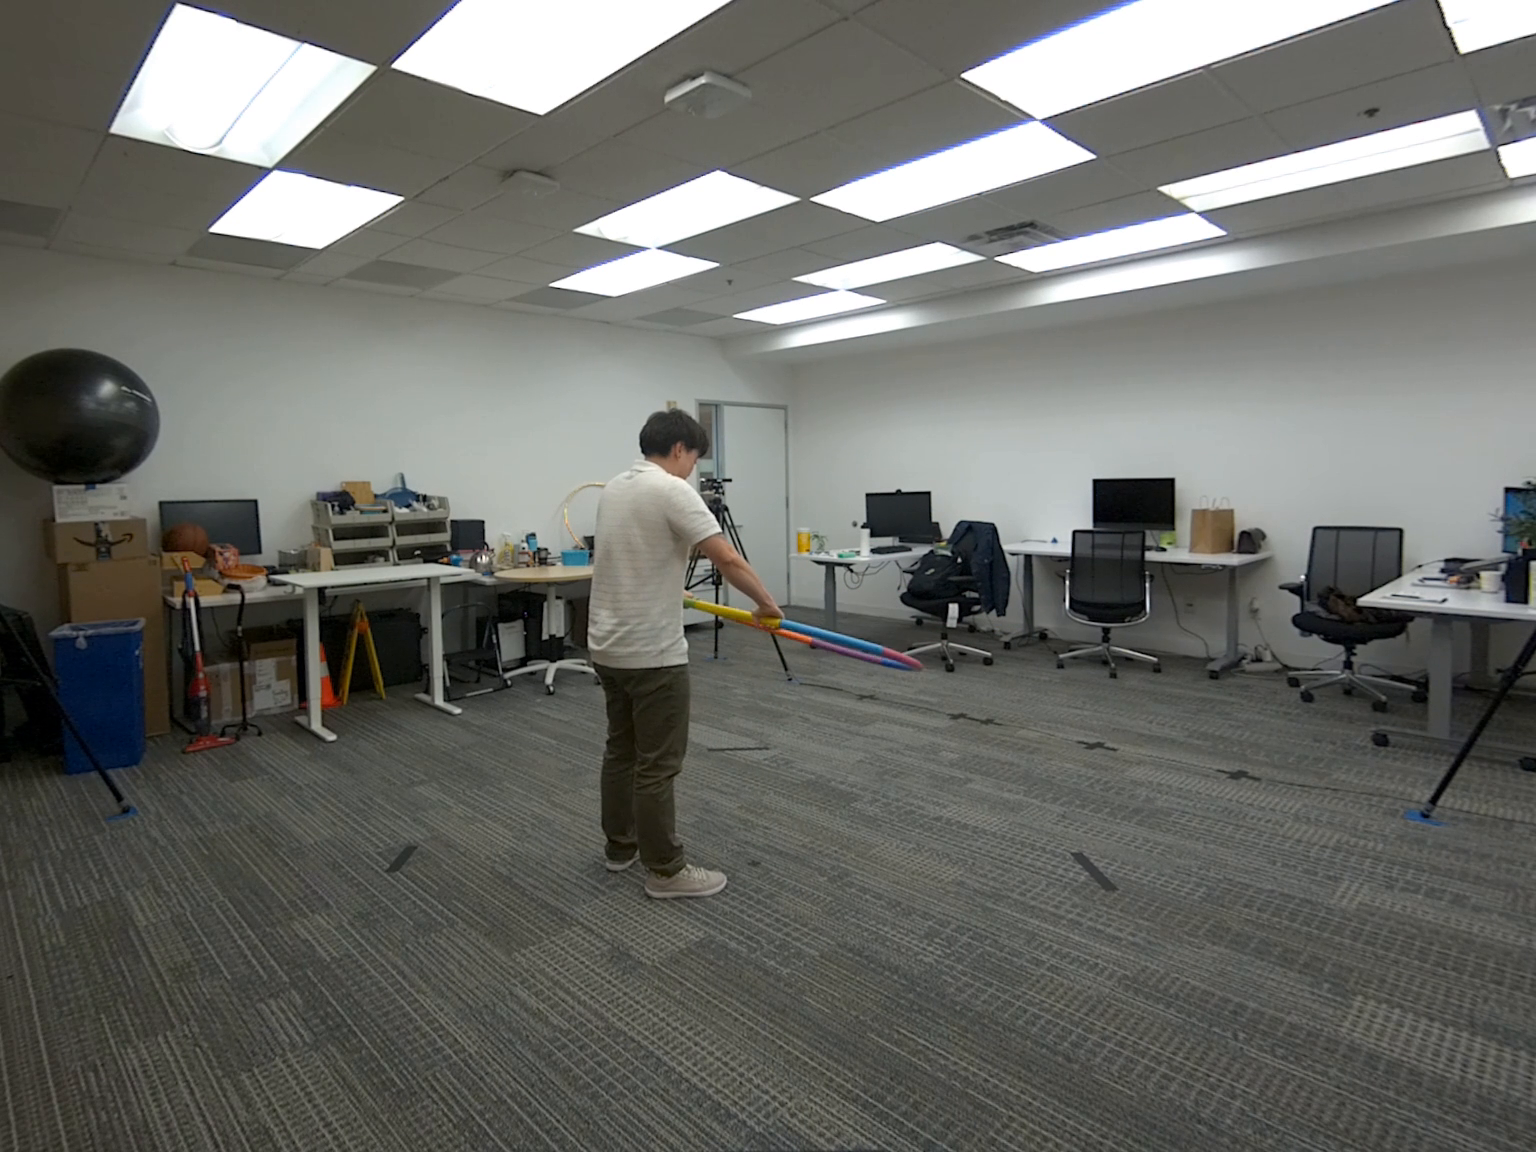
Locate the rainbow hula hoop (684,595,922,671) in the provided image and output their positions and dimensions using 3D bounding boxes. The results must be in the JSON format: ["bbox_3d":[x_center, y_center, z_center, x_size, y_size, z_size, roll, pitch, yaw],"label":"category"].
[{"bbox_3d":[0.128,0.232,3.397,0.980,0.036,0.974,16,-5,0],"label":"rainbow hula hoop"}]
